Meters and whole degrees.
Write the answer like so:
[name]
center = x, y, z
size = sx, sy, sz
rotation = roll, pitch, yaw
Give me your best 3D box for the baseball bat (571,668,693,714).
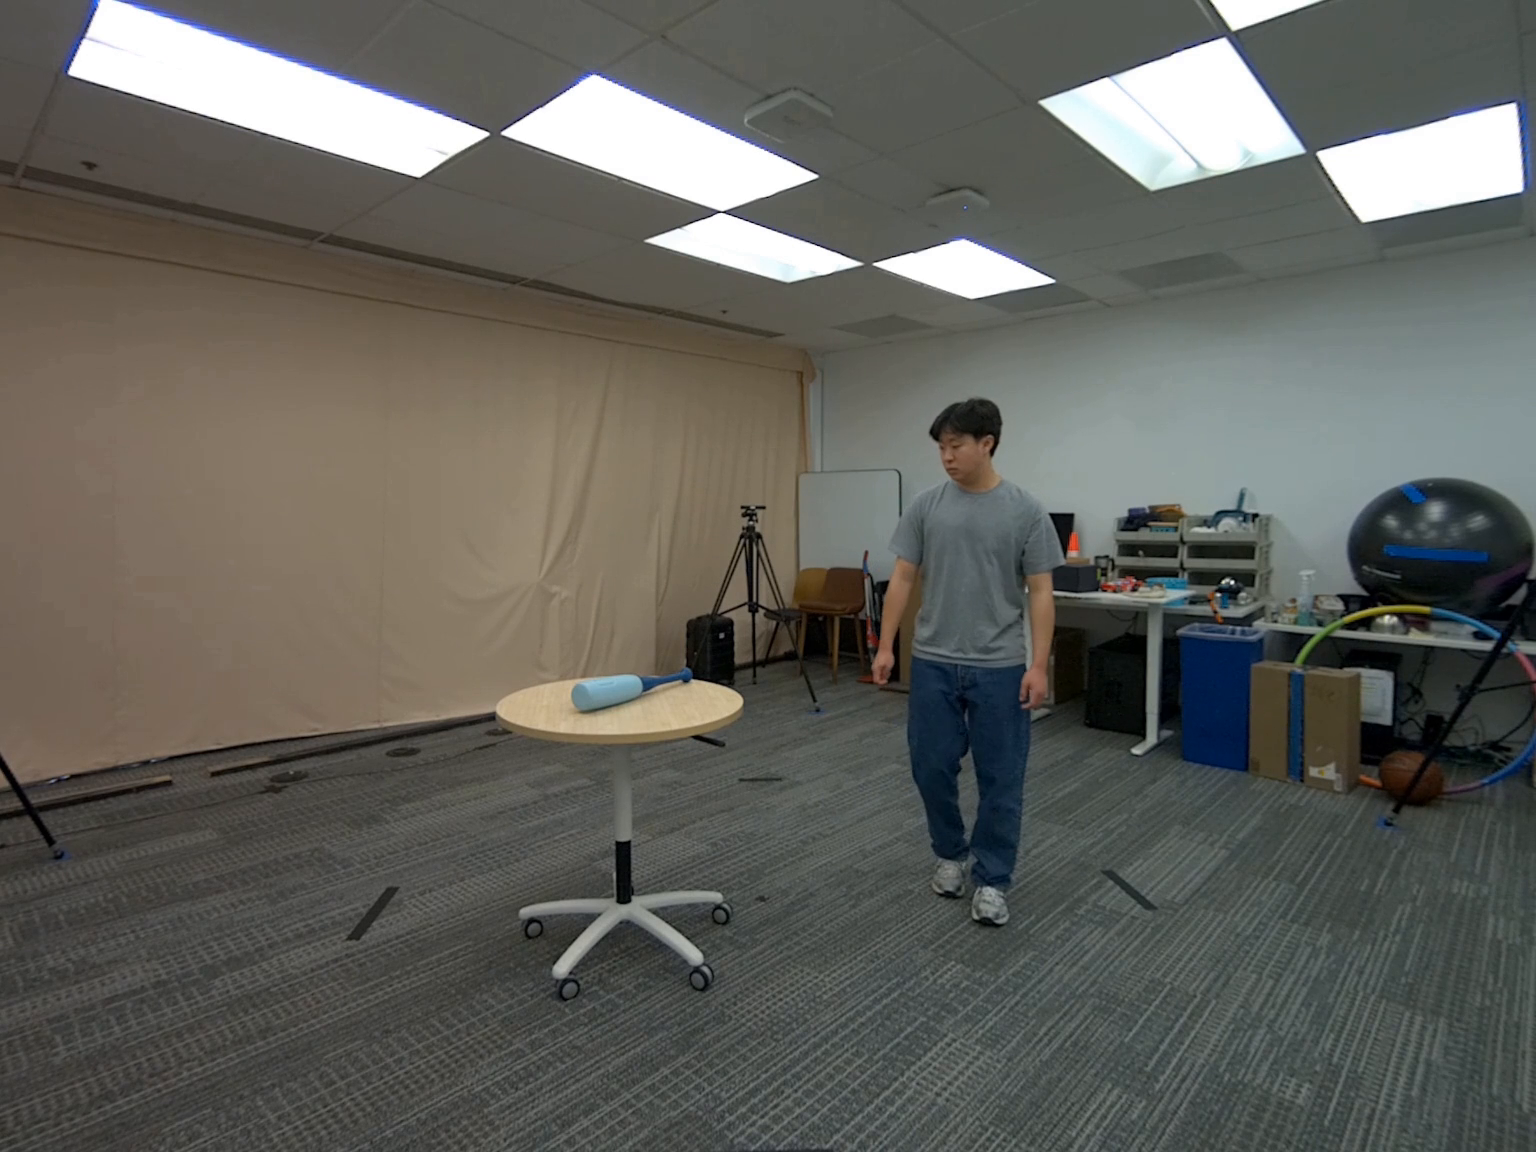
[baseball bat]
center = -0.417, 0.356, 2.695
size = 0.092, 0.089, 0.527
rotation = 2, 2, 31
